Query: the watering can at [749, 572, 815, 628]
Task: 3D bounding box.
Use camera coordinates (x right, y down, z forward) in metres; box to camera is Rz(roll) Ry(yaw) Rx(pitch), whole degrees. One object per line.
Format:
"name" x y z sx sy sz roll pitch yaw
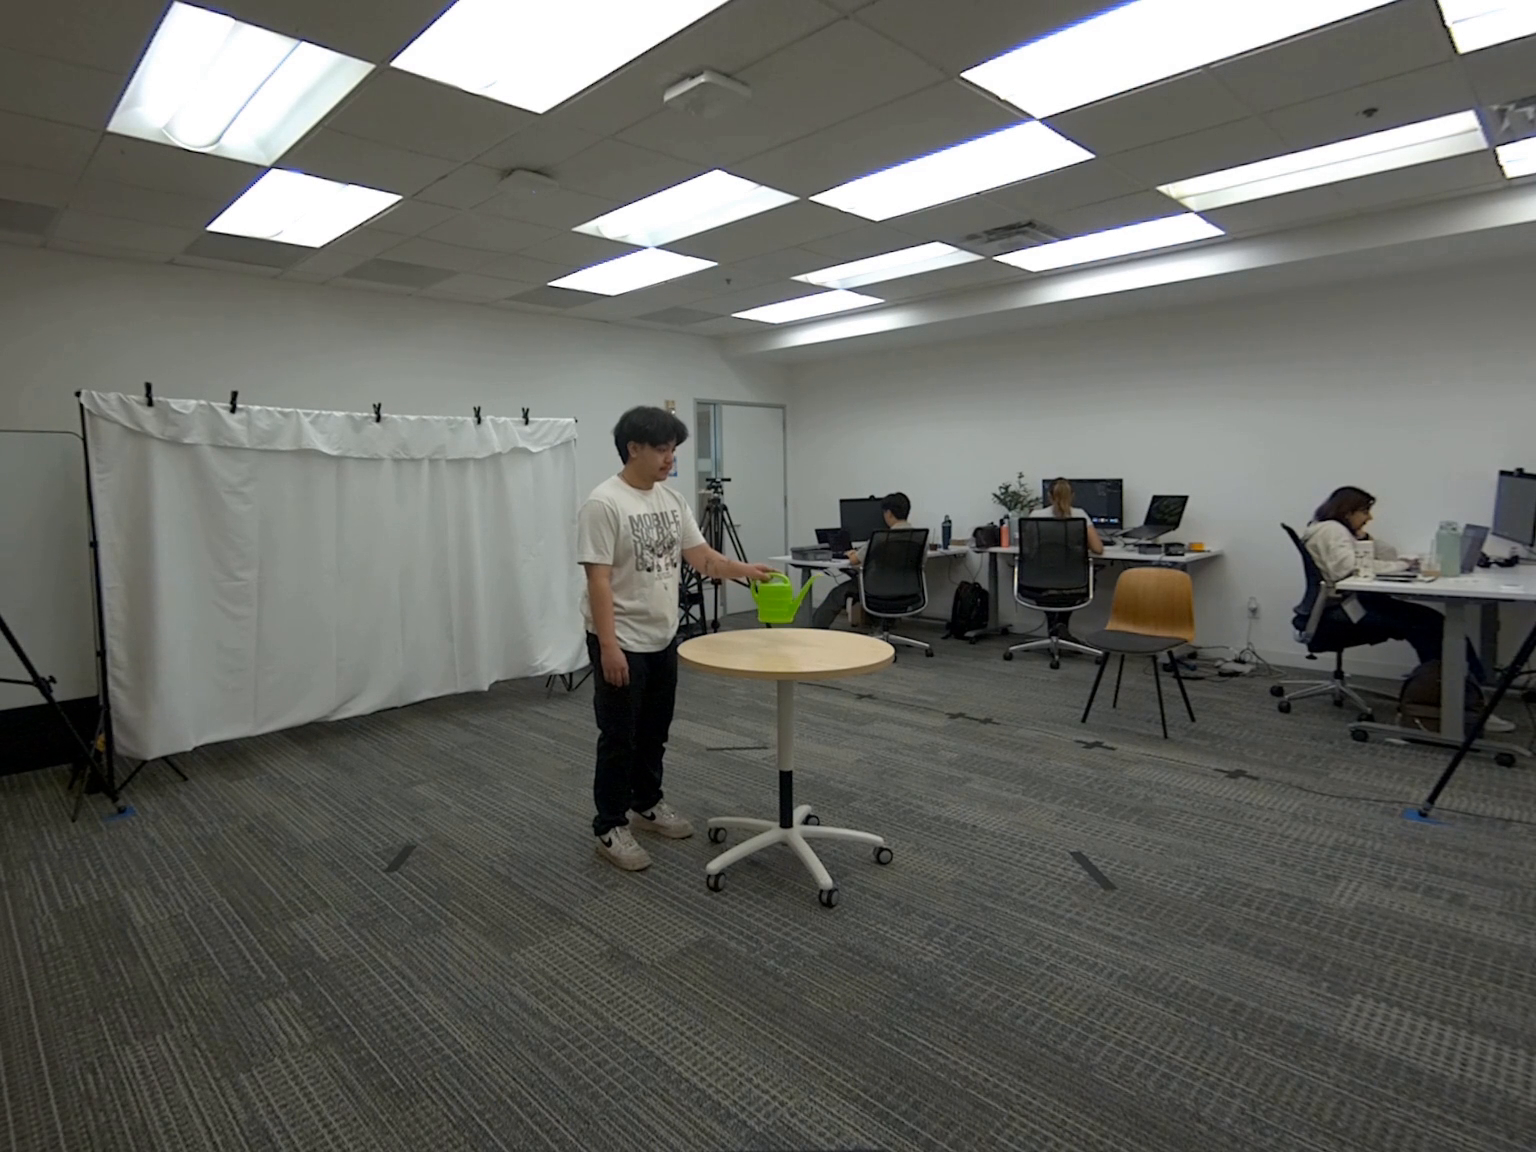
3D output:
"watering can" 0.052 0.079 3.040 0.286 0.177 0.095 -1 1 39
